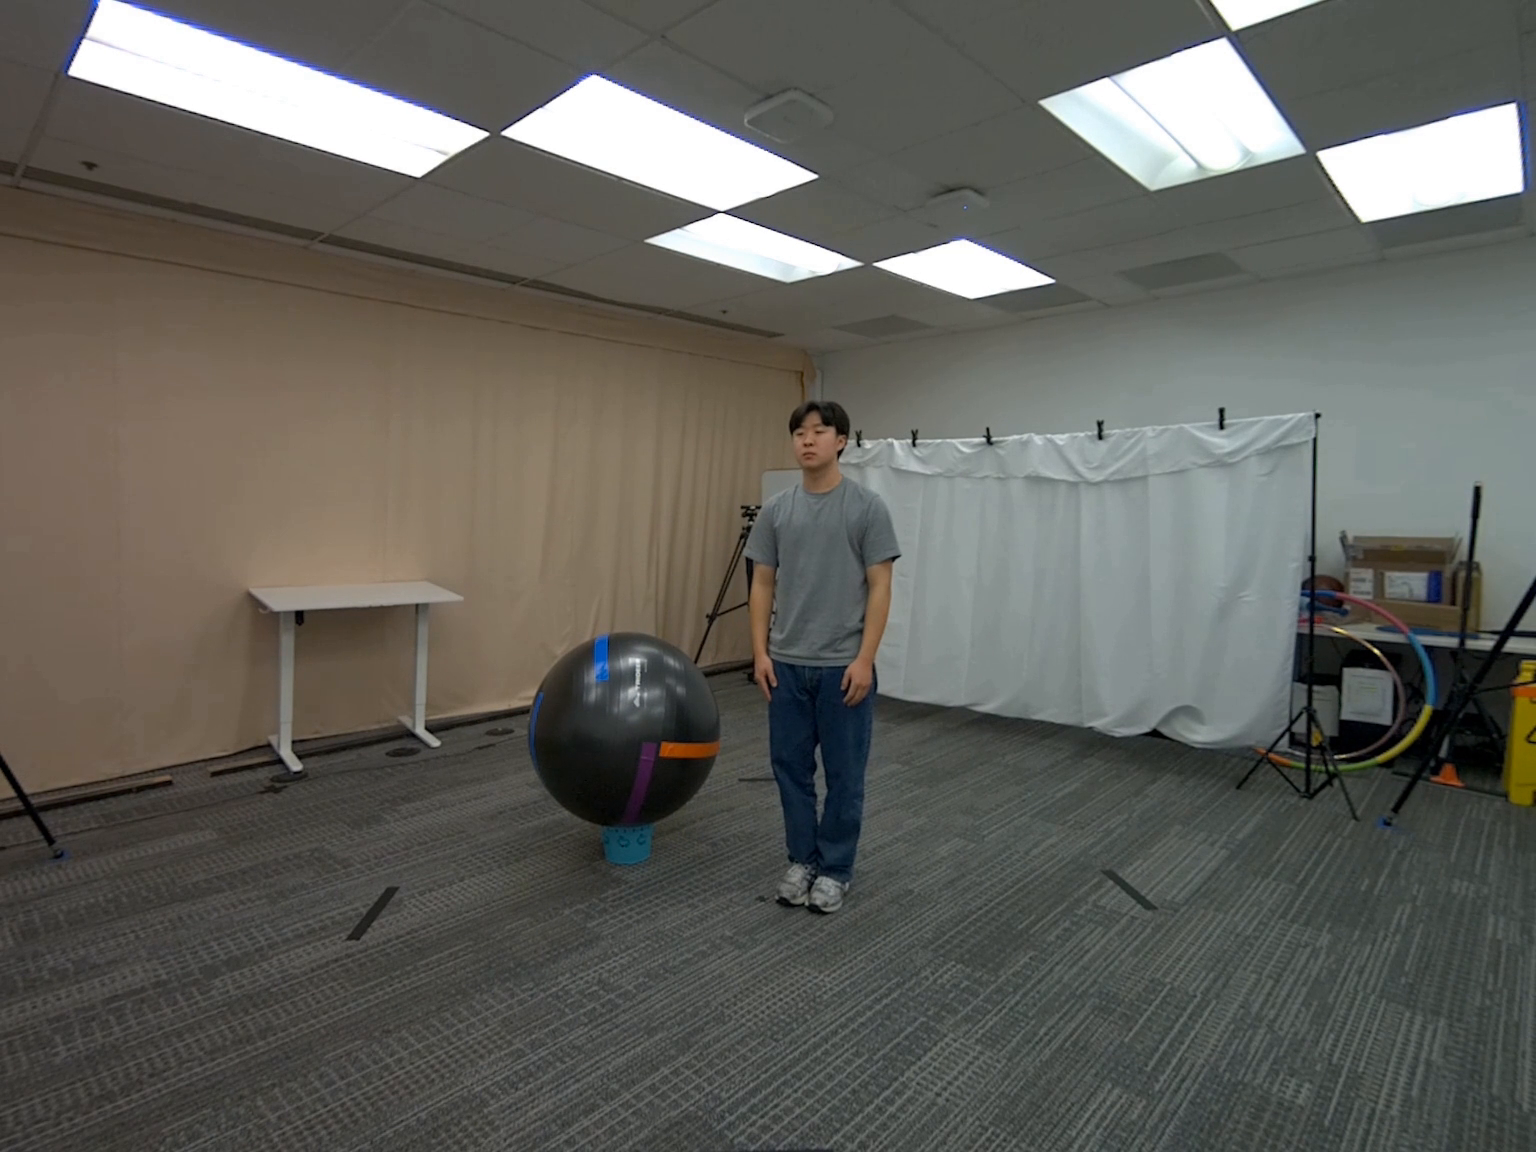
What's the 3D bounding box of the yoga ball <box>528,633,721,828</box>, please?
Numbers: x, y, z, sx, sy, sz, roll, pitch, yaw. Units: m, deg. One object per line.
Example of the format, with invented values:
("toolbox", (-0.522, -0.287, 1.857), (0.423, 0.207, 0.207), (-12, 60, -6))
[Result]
("yoga ball", (-0.573, 0.608, 3.365), (0.757, 0.756, 0.761), (0, 4, -2))
